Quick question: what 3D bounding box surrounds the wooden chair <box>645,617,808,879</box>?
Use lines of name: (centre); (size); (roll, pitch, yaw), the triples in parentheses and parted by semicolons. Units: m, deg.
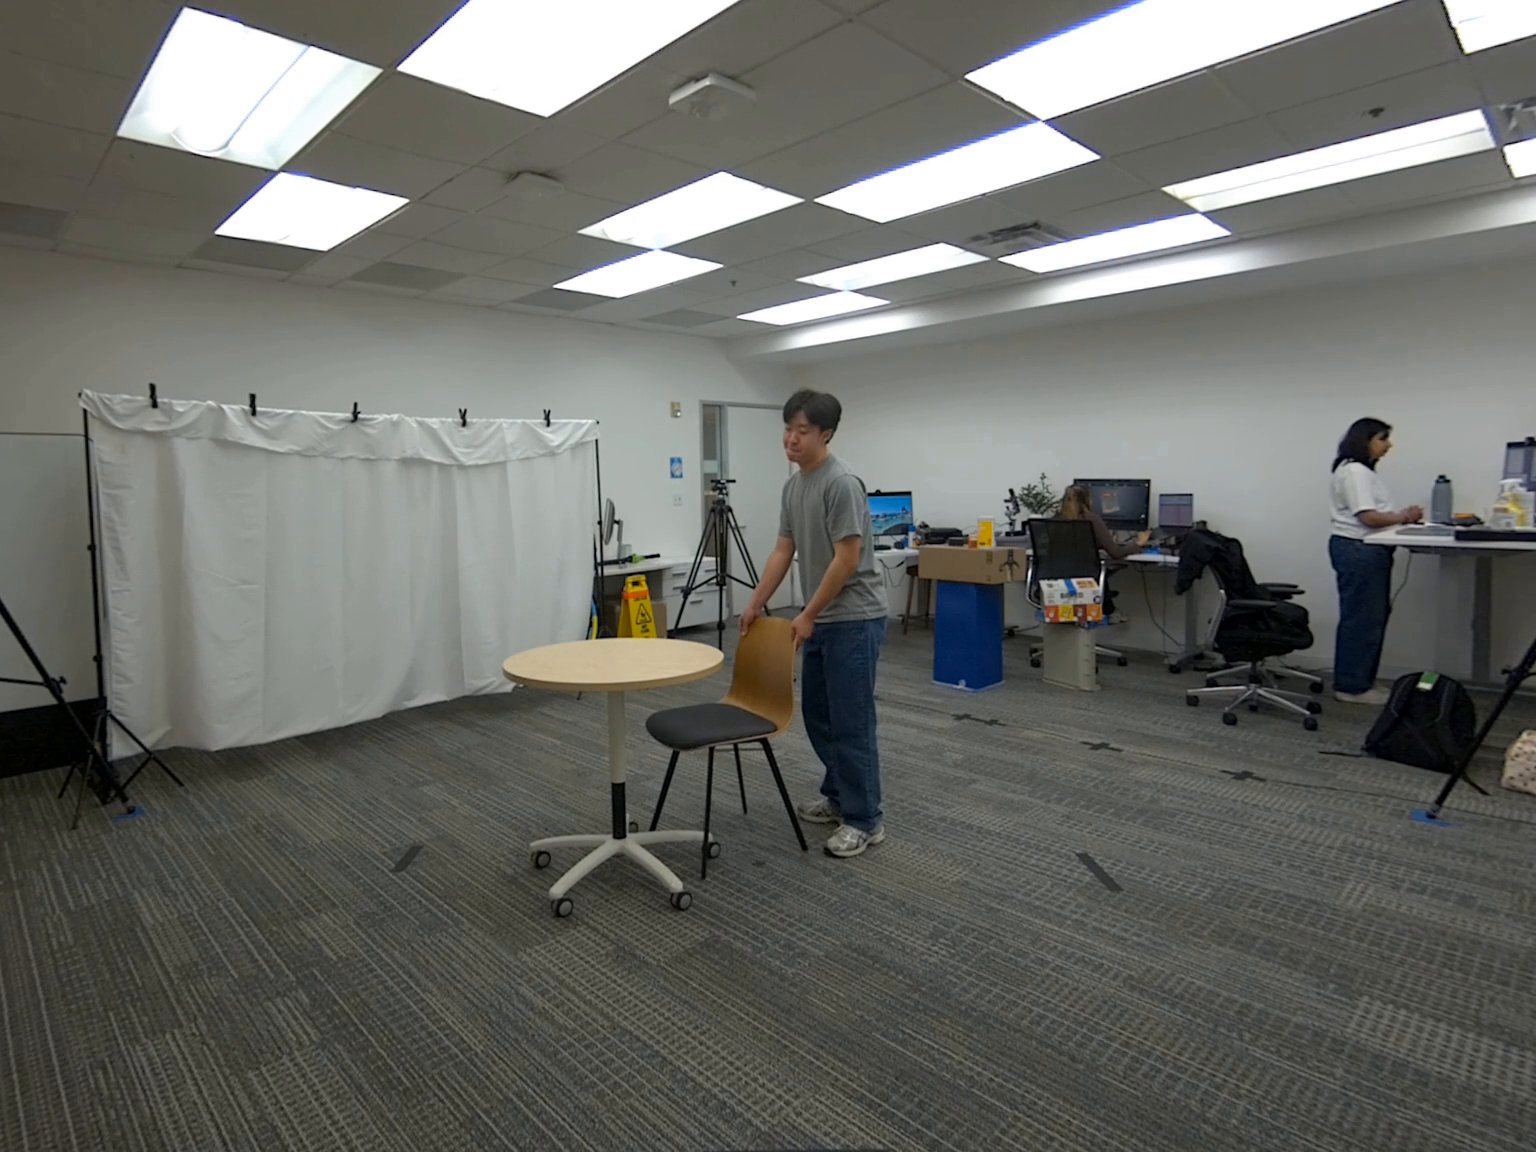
wooden chair: (-0.171, 0.601, 3.254); (0.510, 0.876, 0.491); (2, 3, -31)
